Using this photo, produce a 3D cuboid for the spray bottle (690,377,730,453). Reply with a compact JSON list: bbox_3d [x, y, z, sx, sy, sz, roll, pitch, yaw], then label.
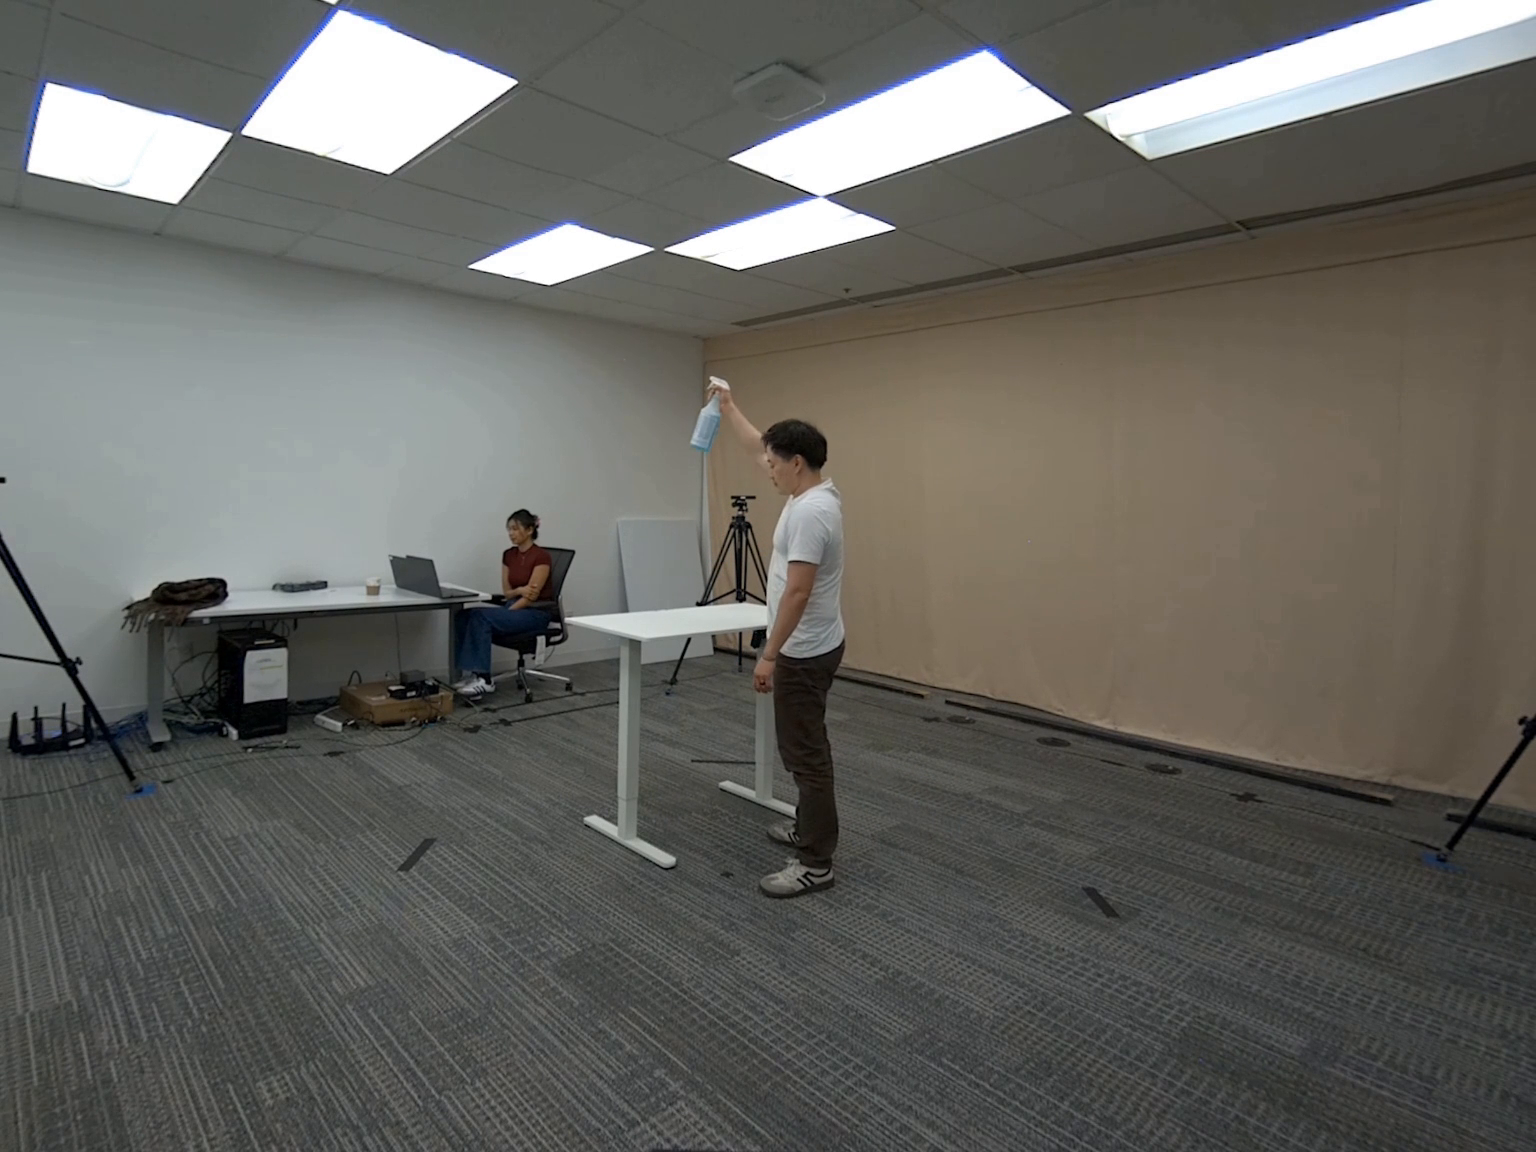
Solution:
[{"bbox_3d":[-0.238,-0.649,3.408,0.092,0.296,0.085,22,8,32],"label":"spray bottle"}]
